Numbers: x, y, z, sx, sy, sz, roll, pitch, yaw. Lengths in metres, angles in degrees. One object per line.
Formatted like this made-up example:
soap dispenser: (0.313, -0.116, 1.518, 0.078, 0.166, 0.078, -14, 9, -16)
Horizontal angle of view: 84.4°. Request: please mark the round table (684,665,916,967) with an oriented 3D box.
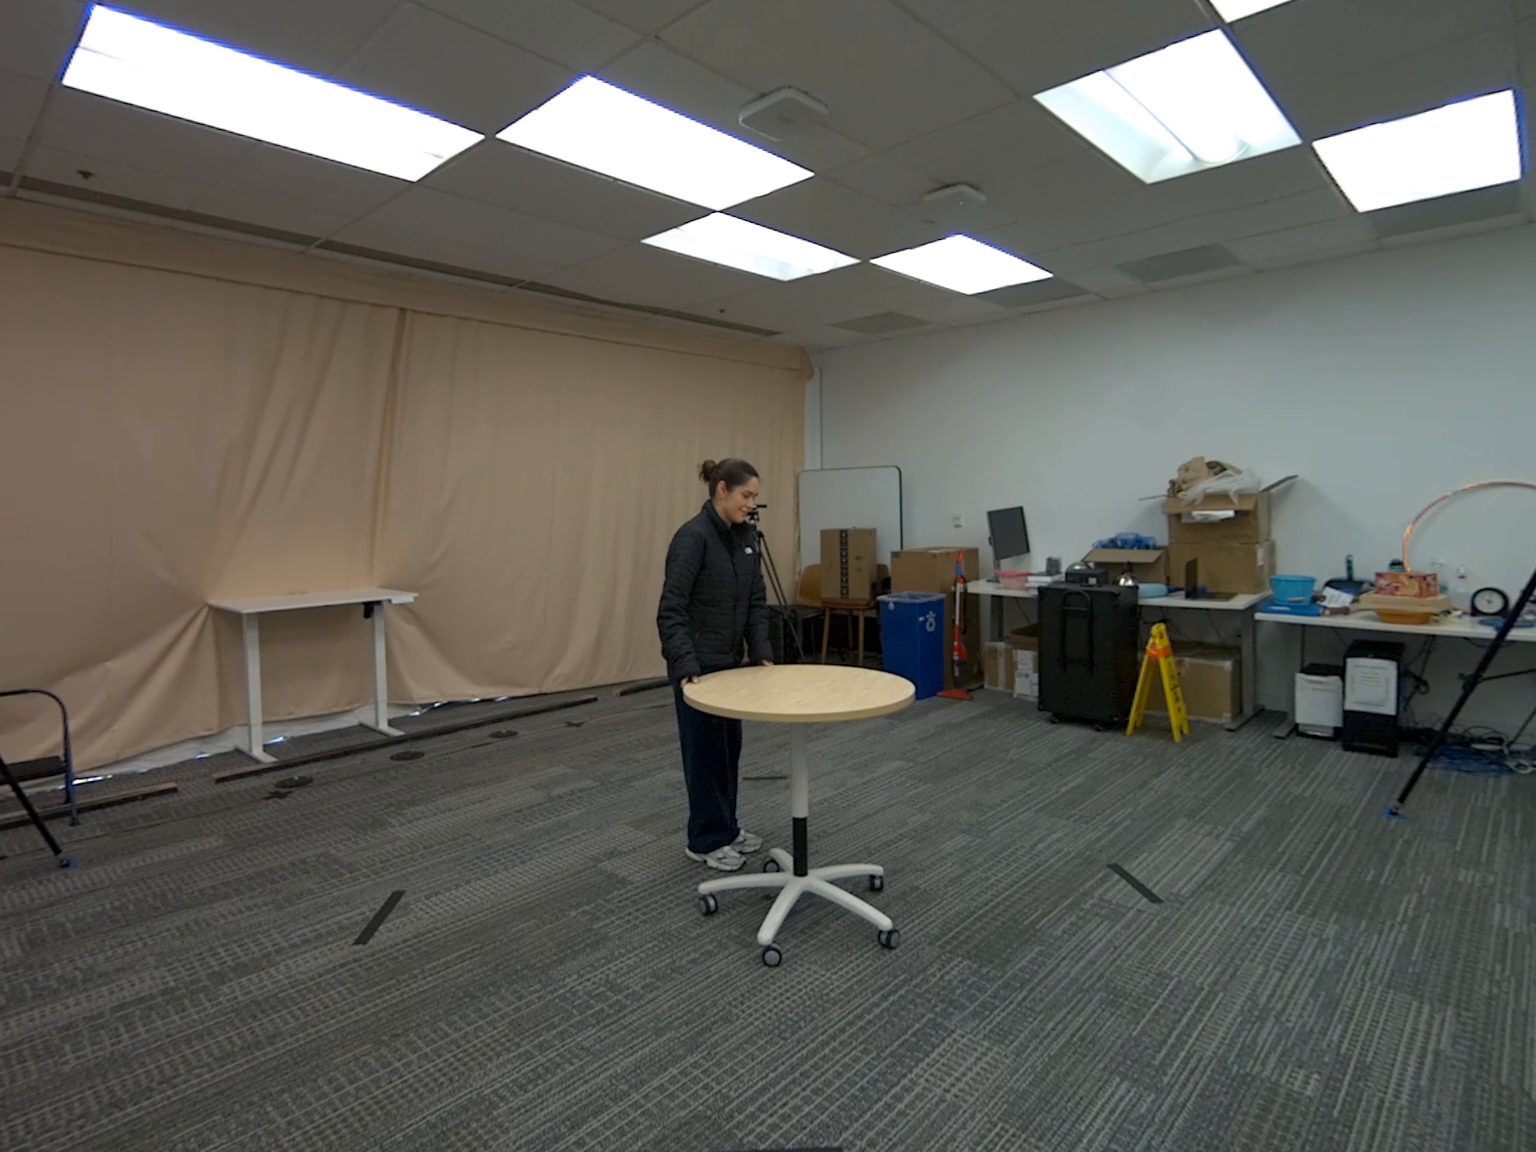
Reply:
round table: (0.125, 0.755, 2.851, 0.784, 0.784, 0.788, -1, 4, -2)
